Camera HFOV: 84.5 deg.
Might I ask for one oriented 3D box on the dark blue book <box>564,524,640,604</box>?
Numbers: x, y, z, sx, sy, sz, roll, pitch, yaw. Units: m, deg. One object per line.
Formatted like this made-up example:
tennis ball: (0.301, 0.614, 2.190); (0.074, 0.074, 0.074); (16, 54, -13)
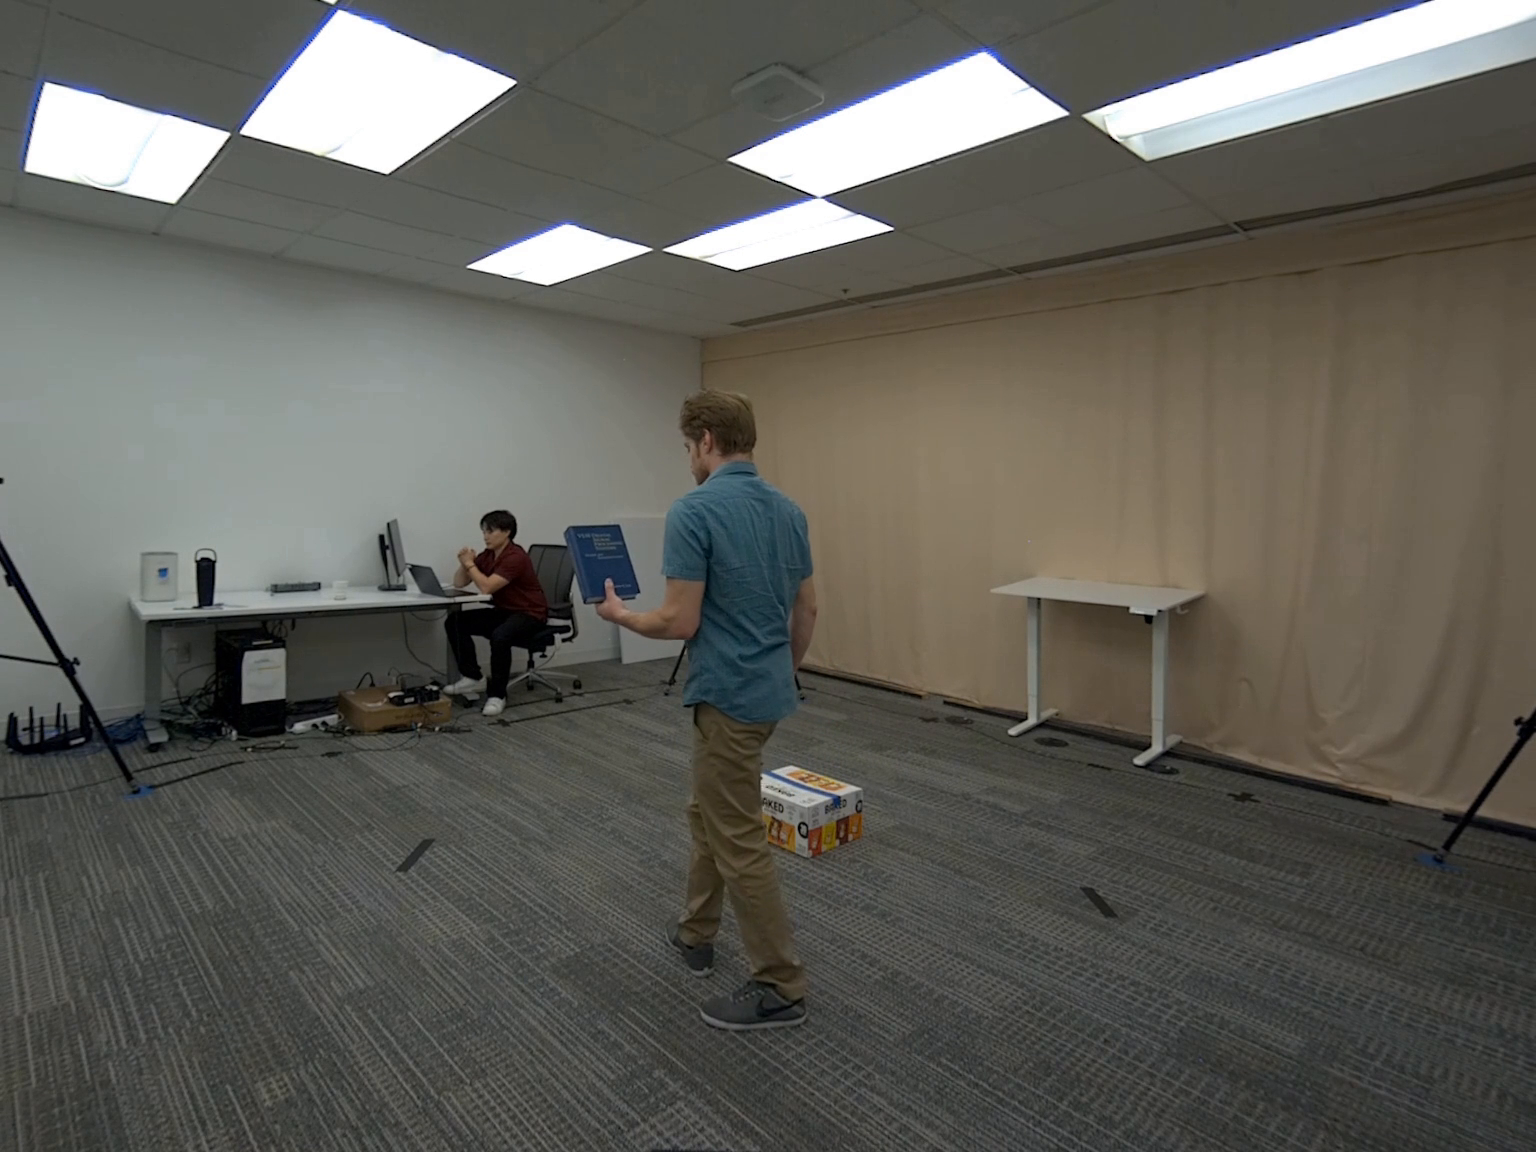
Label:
dark blue book: (-0.483, -0.040, 2.462); (0.160, 0.251, 0.045); (-4, -32, -33)
